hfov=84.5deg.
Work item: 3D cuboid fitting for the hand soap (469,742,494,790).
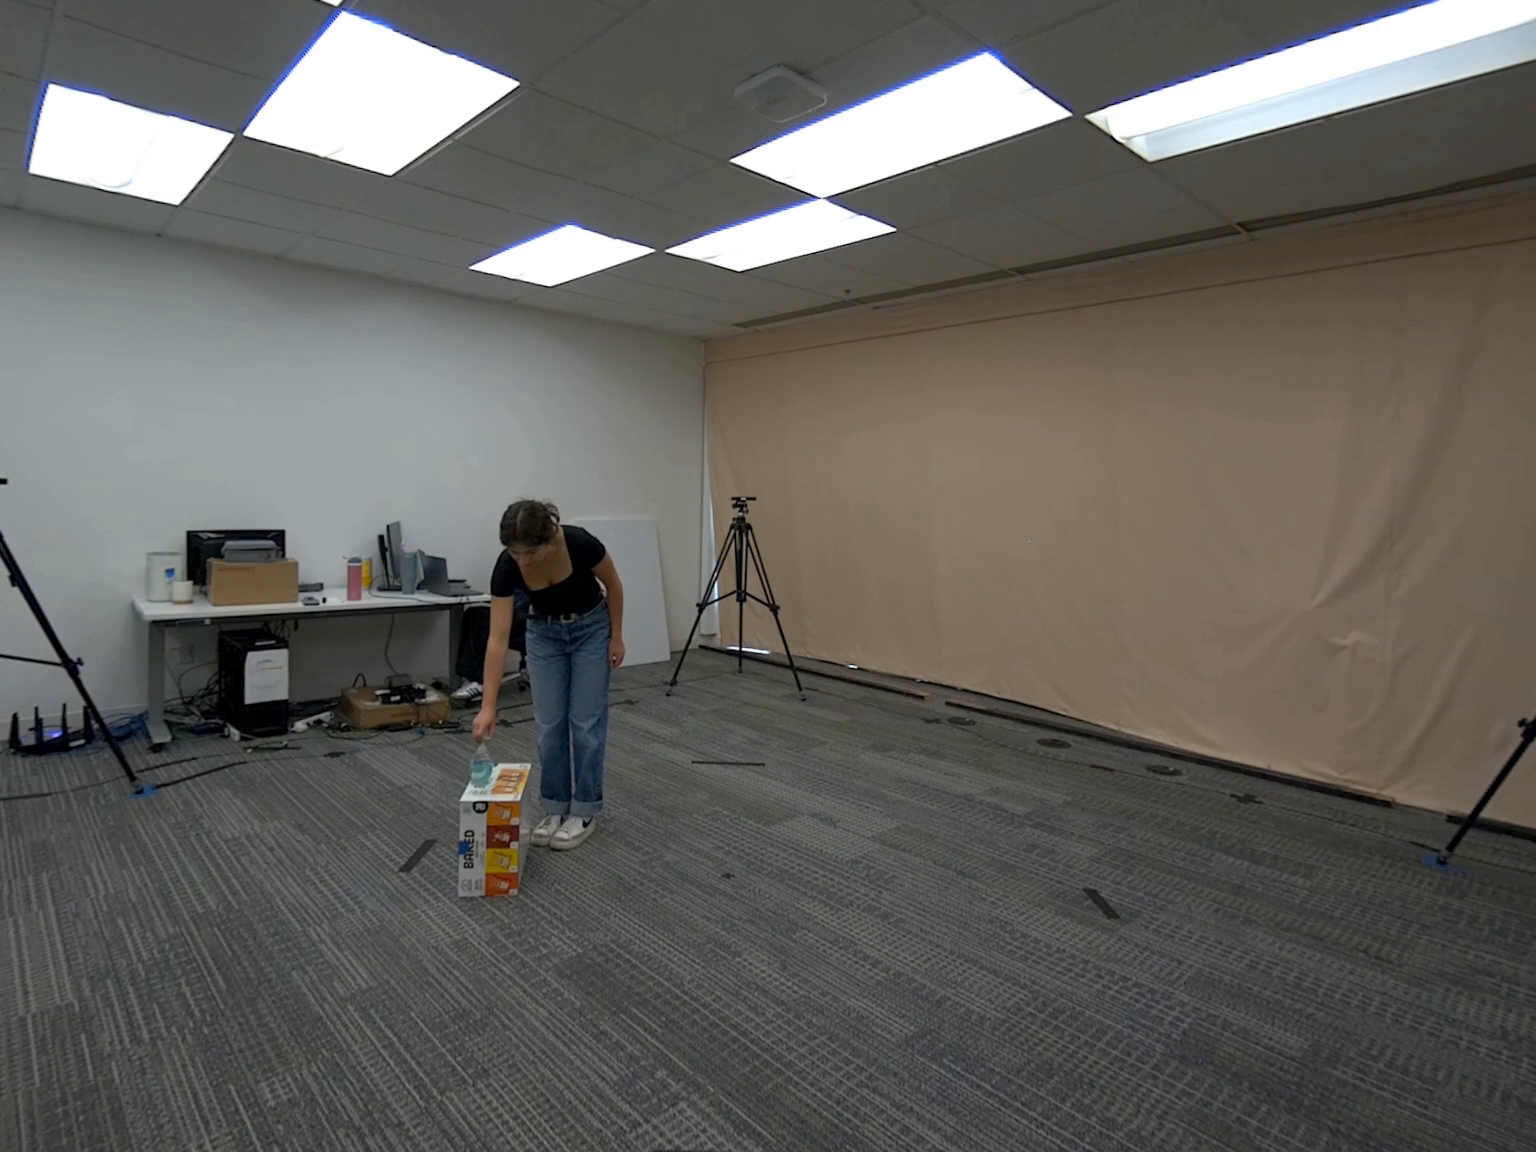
[{"bbox_3d":[-1.020,0.655,2.946,0.085,0.168,0.043,0,-1,12],"label":"hand soap"}]
